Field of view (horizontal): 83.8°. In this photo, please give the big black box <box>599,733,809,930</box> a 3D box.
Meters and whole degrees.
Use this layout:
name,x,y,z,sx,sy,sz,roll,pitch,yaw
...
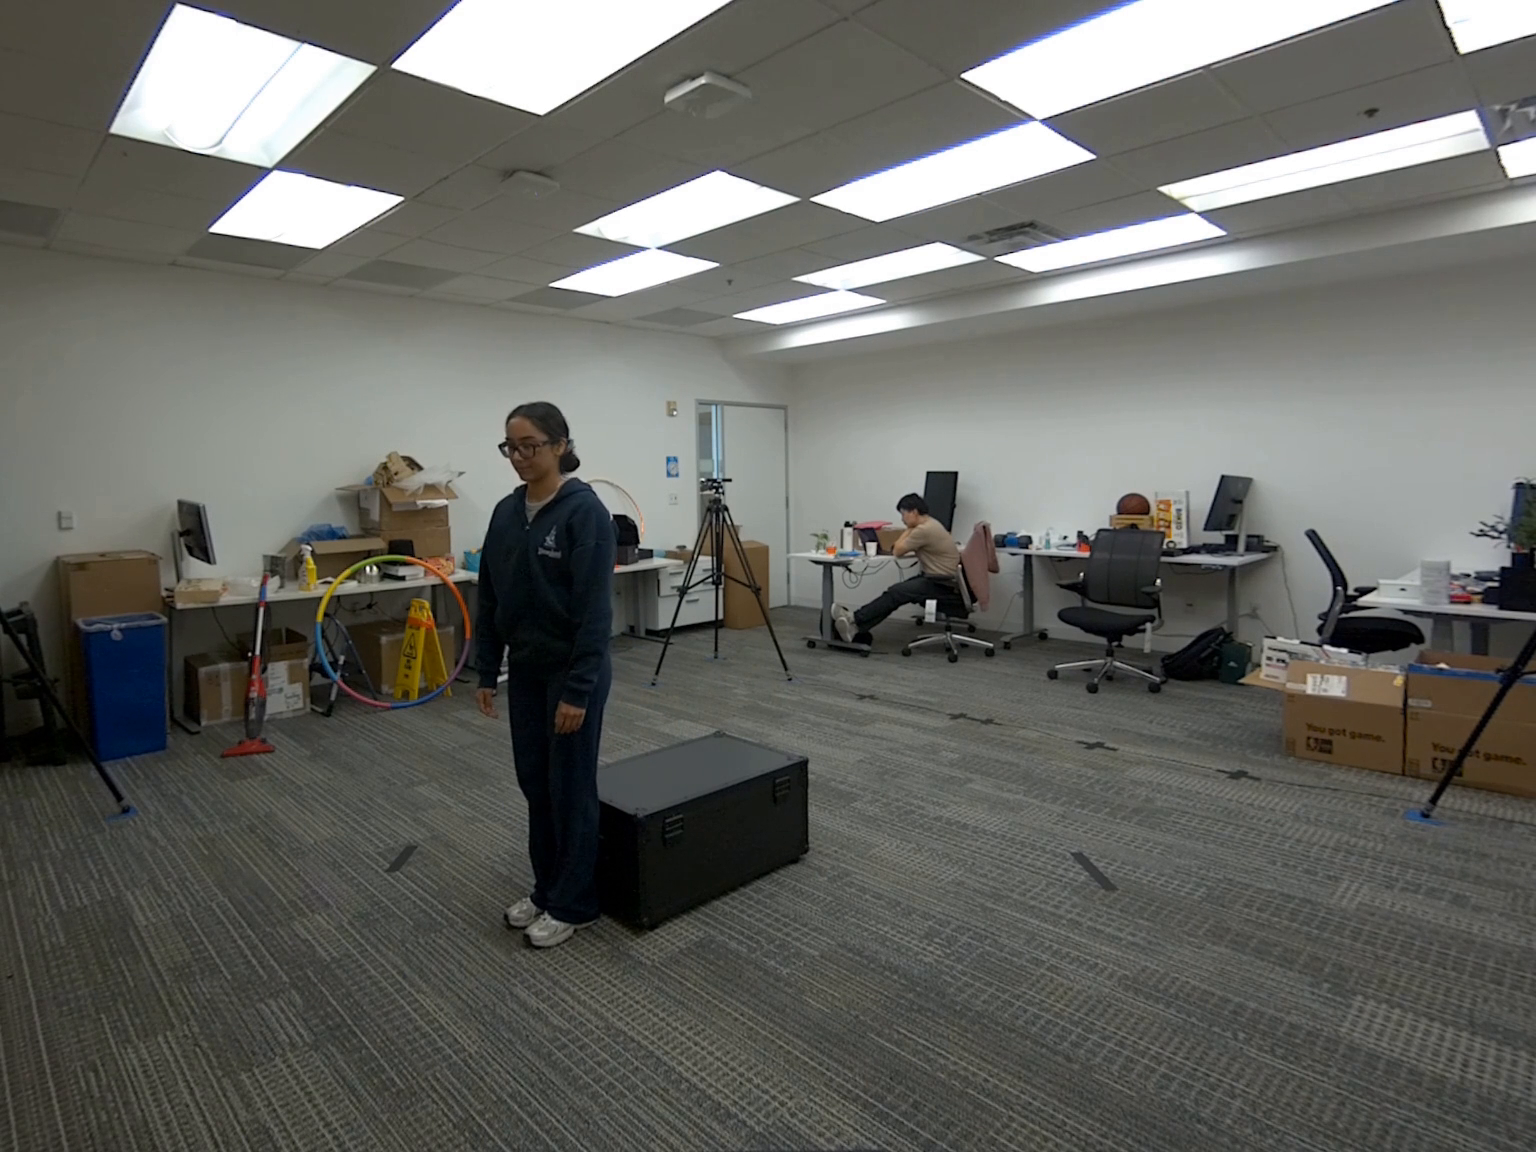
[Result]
name,x,y,z,sx,sy,sz,roll,pitch,yaw
big black box,-0.266,0.863,3.059,0.840,0.394,0.537,-8,9,-44
